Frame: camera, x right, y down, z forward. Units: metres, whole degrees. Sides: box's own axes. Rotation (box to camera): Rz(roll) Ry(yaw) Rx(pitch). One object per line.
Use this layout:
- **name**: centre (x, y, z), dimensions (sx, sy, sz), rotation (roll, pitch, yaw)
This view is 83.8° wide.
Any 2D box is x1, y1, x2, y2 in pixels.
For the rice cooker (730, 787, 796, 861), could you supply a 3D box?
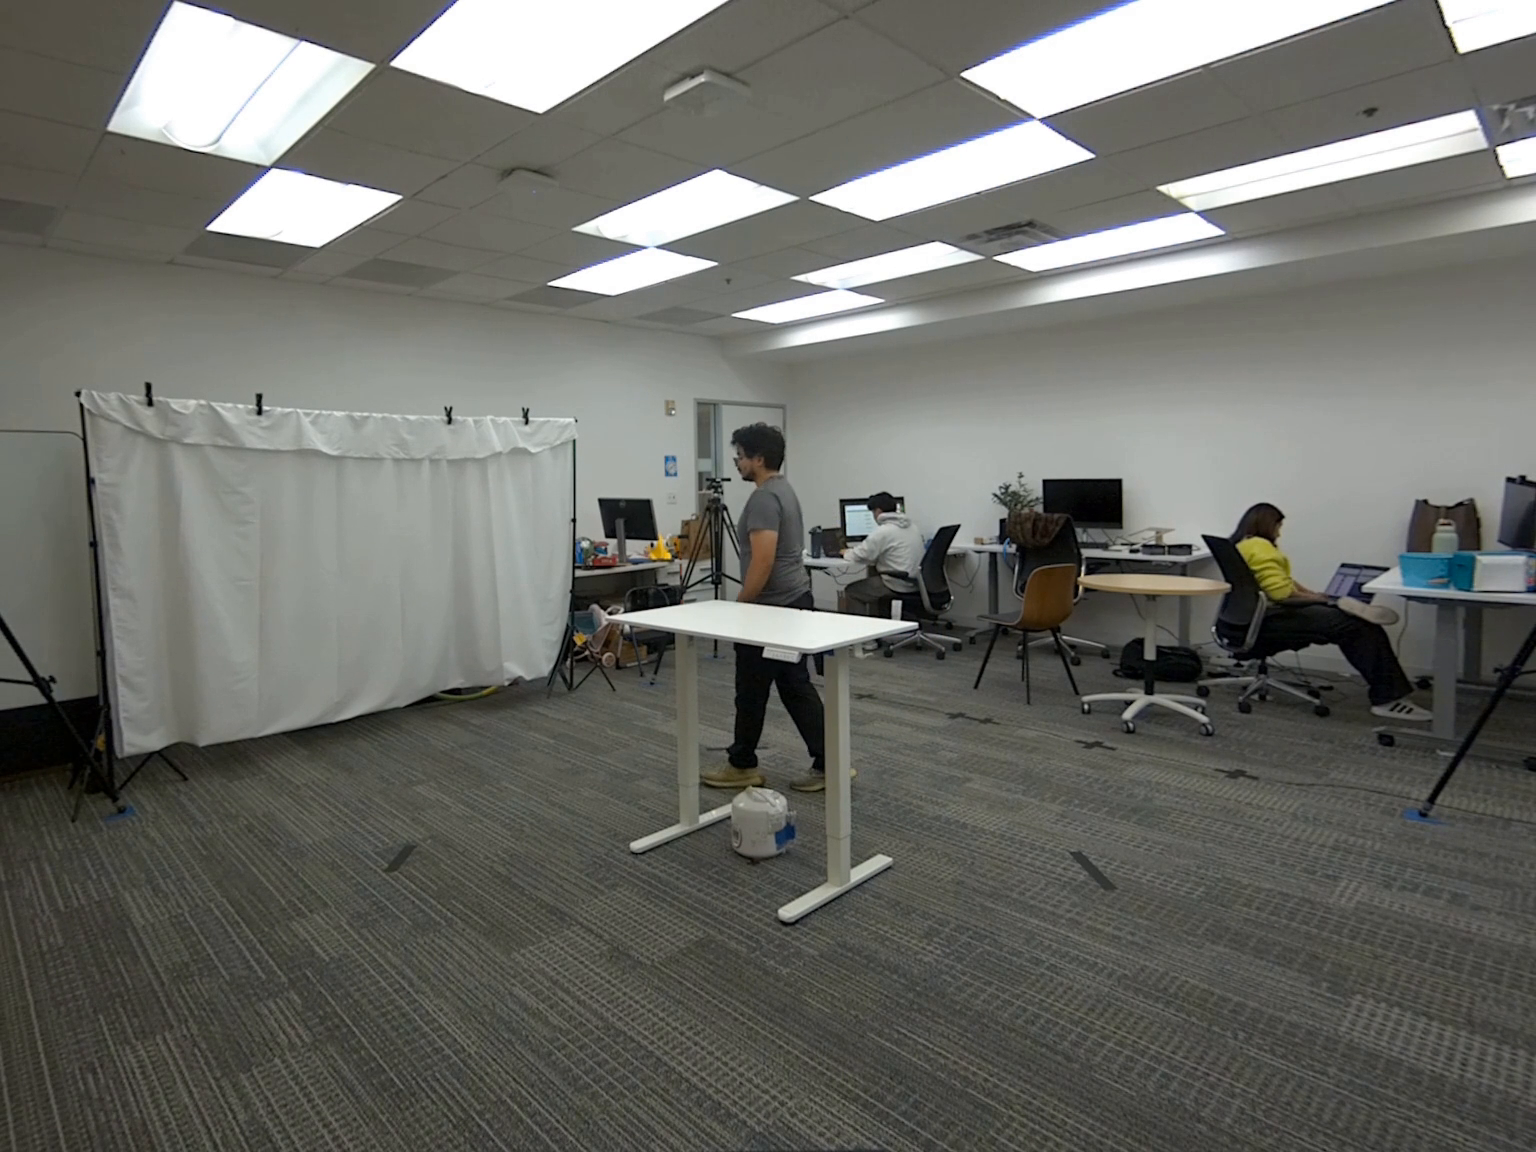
- **rice cooker**: centre (-0.030, 0.923, 3.204), dimensions (0.212, 0.232, 0.227), rotation (-2, 5, -34)
